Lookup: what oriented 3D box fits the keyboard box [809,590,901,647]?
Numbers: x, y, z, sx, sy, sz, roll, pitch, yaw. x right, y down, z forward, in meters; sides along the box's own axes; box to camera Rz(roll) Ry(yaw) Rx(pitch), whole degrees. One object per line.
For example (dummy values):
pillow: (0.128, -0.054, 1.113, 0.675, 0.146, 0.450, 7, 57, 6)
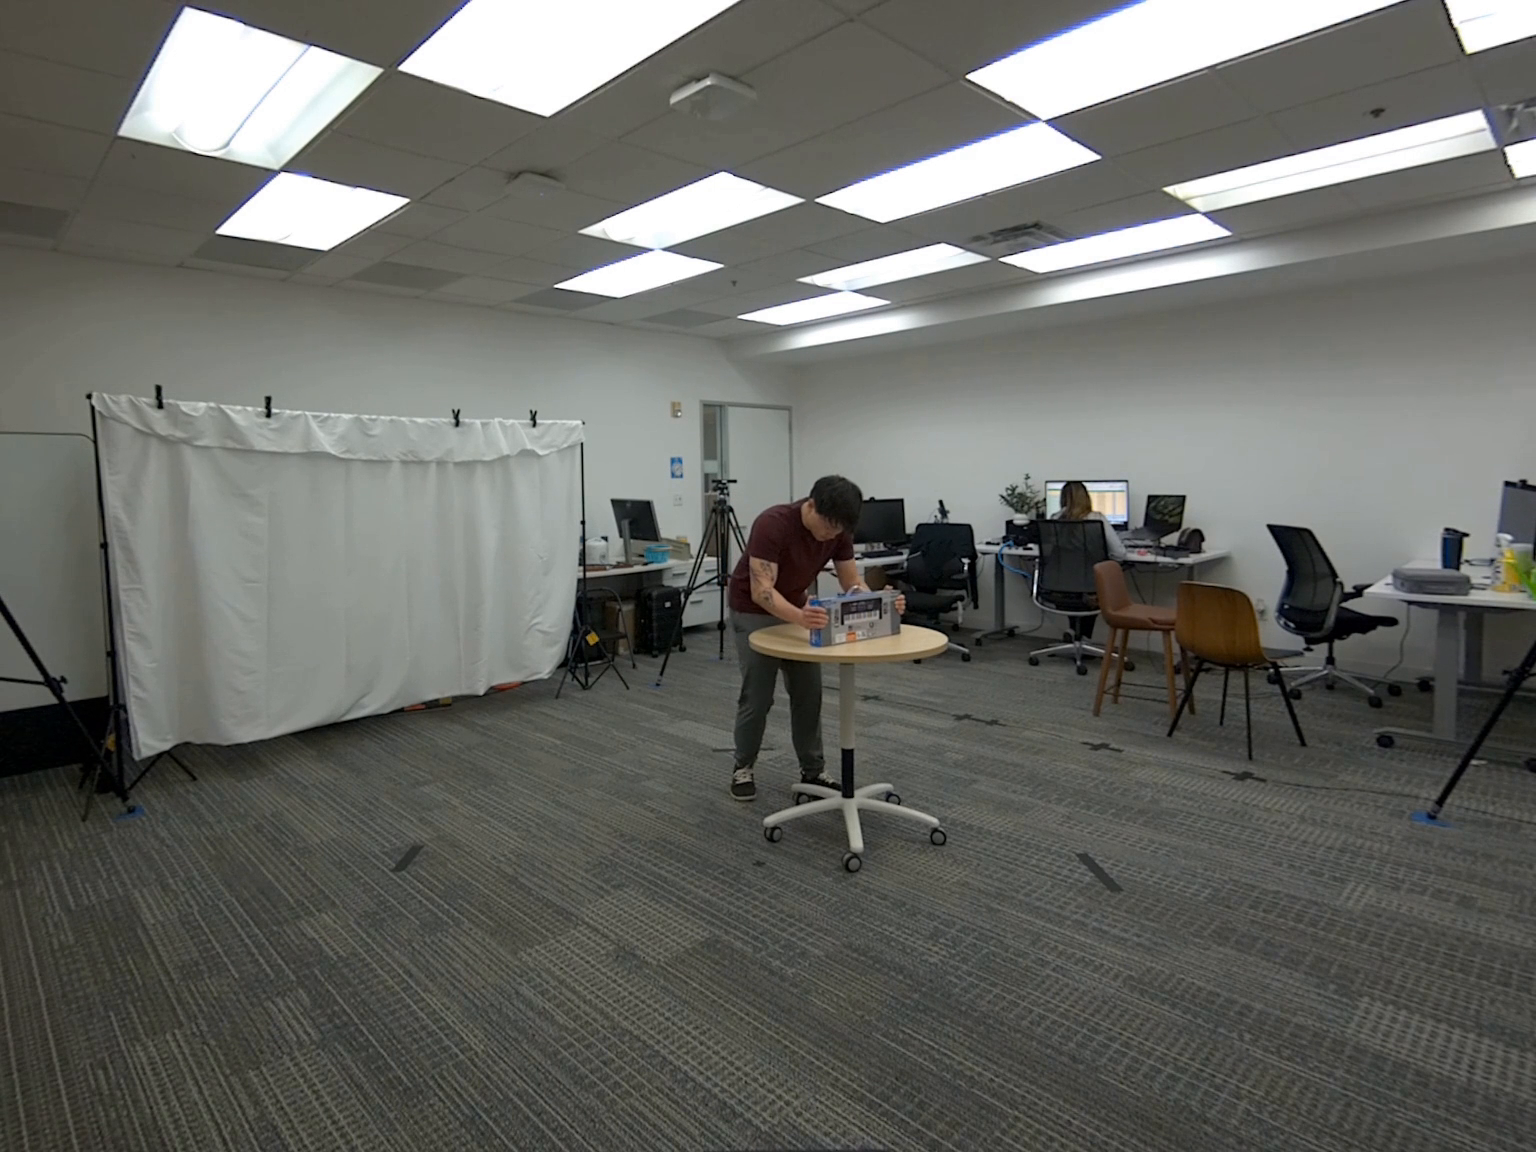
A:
keyboard box: (0.341, 0.163, 3.268, 0.425, 0.175, 0.061, -5, 7, -39)
